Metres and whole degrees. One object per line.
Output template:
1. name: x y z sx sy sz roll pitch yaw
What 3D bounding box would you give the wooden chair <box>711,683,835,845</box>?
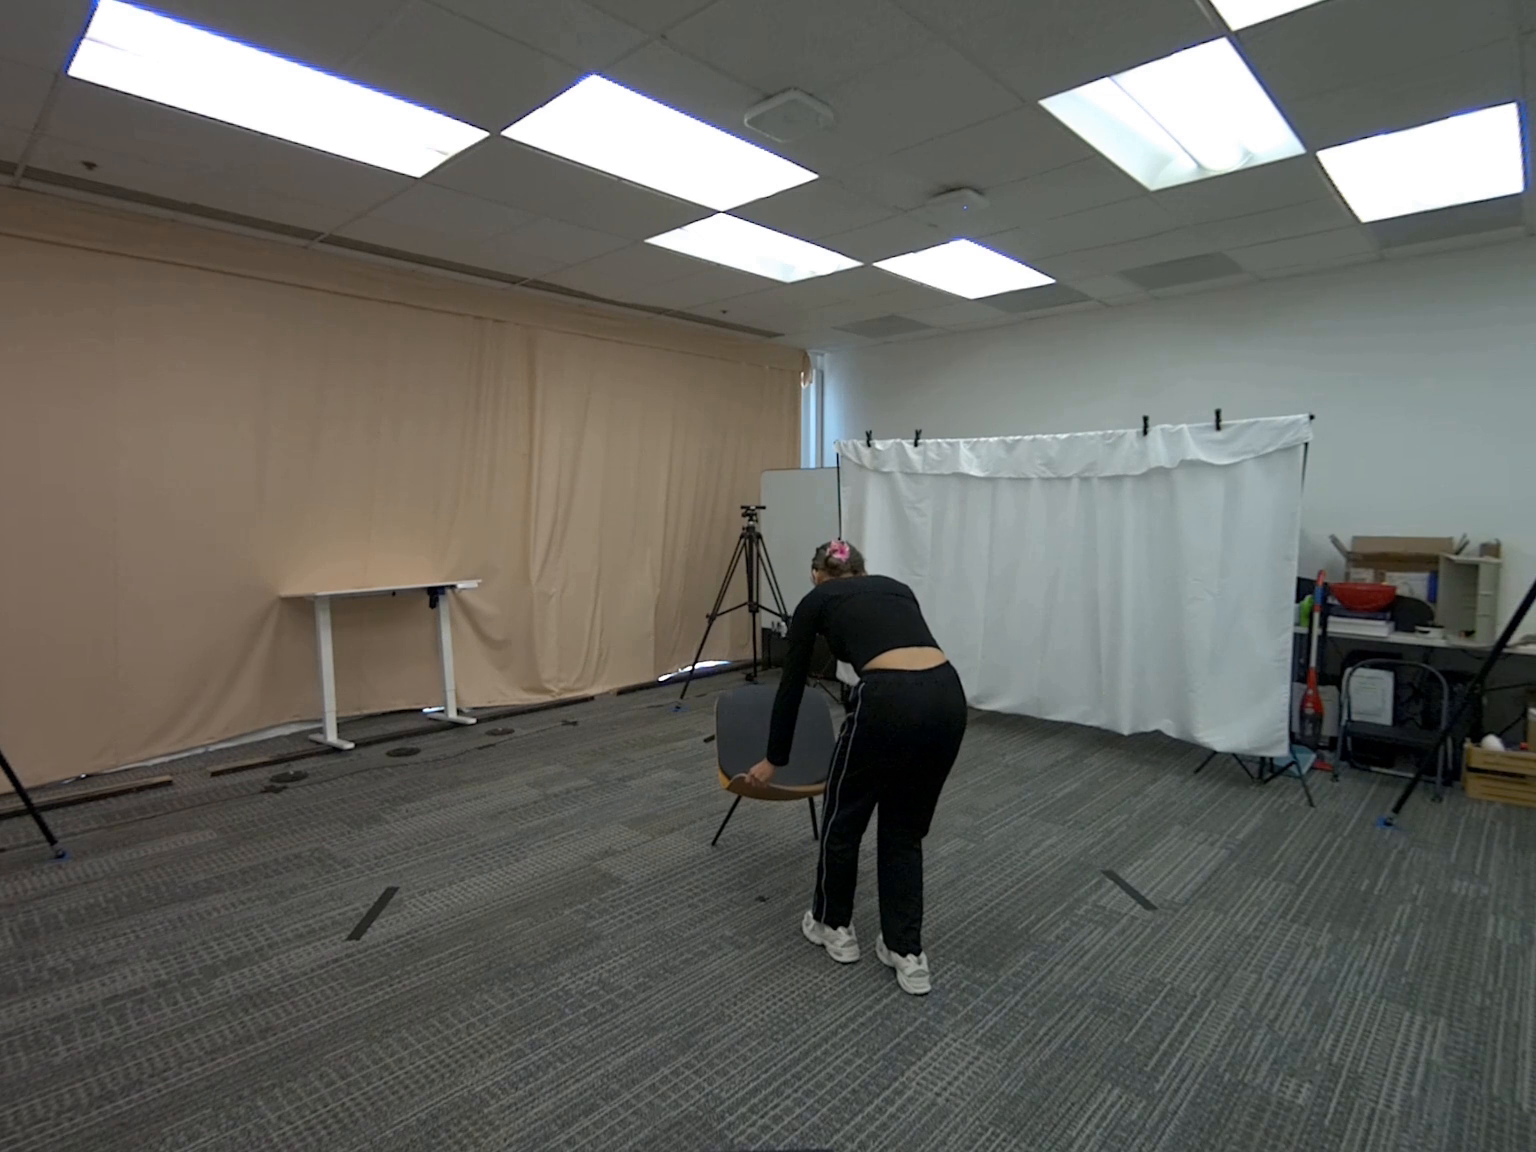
1. wooden chair: 0.025 0.671 3.250 0.474 0.532 0.869 0 -28 -9
